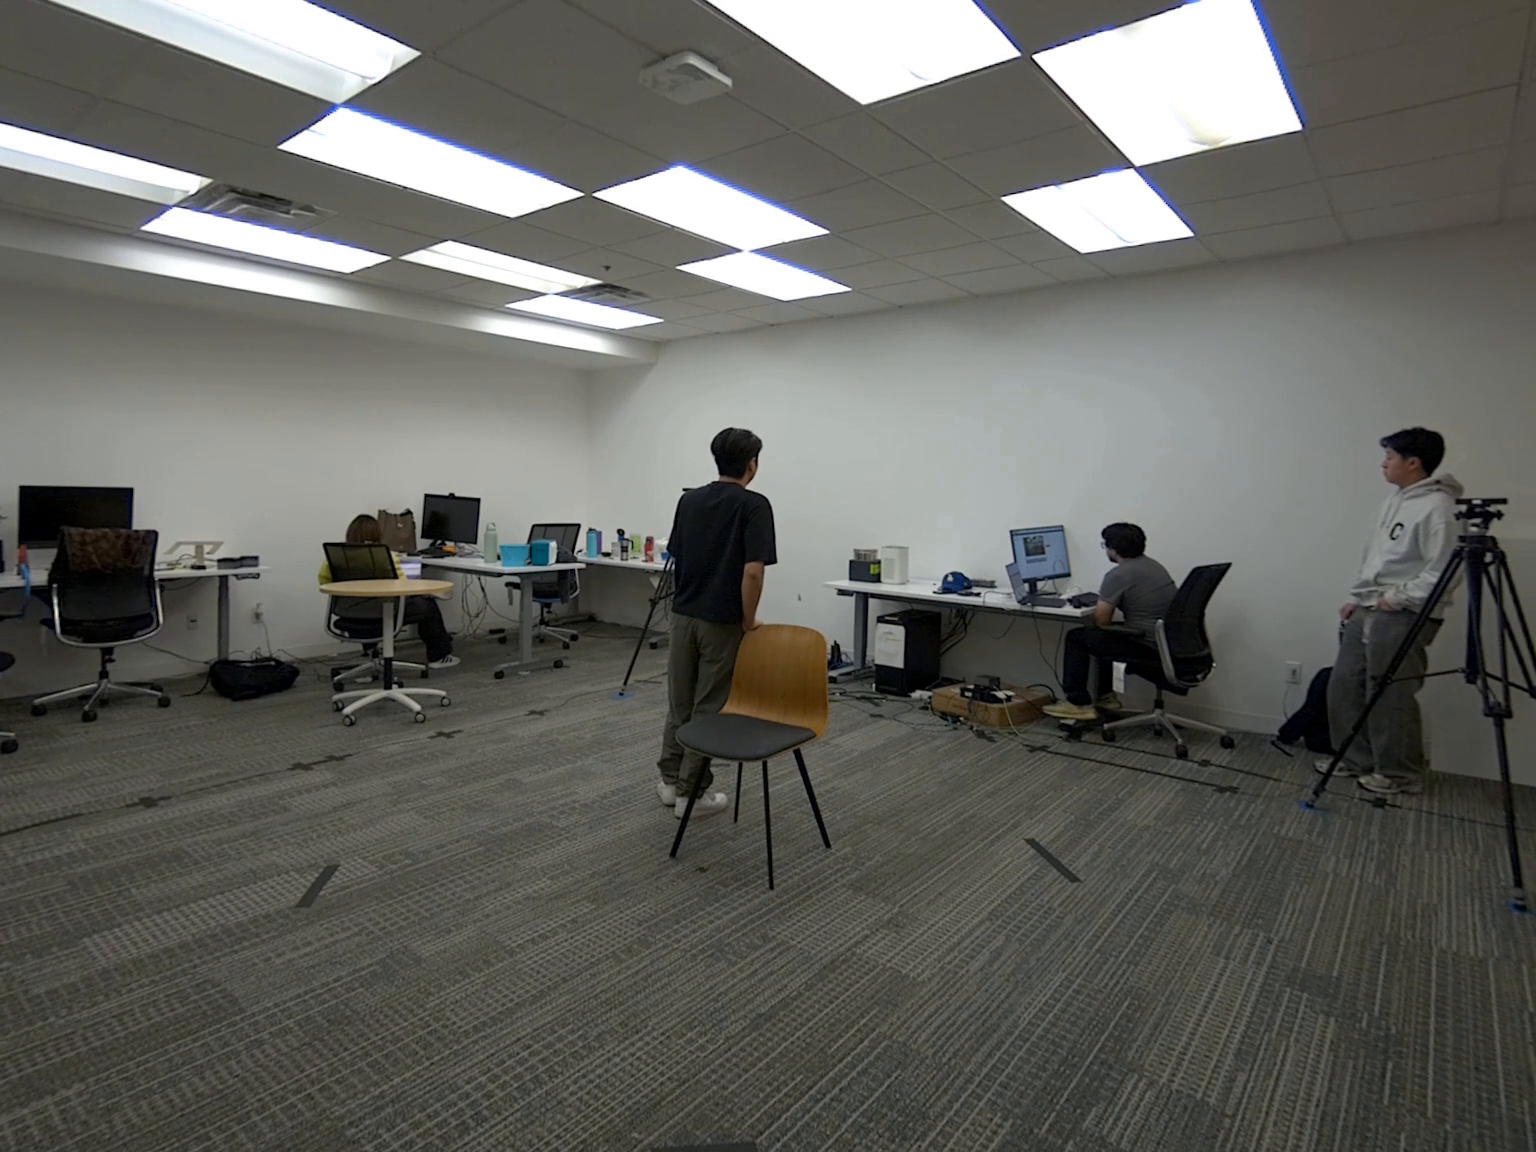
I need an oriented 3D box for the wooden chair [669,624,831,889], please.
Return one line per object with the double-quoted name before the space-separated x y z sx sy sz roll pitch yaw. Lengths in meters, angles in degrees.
"wooden chair" -0.059 0.634 3.229 0.493 0.878 0.507 3 0 33
